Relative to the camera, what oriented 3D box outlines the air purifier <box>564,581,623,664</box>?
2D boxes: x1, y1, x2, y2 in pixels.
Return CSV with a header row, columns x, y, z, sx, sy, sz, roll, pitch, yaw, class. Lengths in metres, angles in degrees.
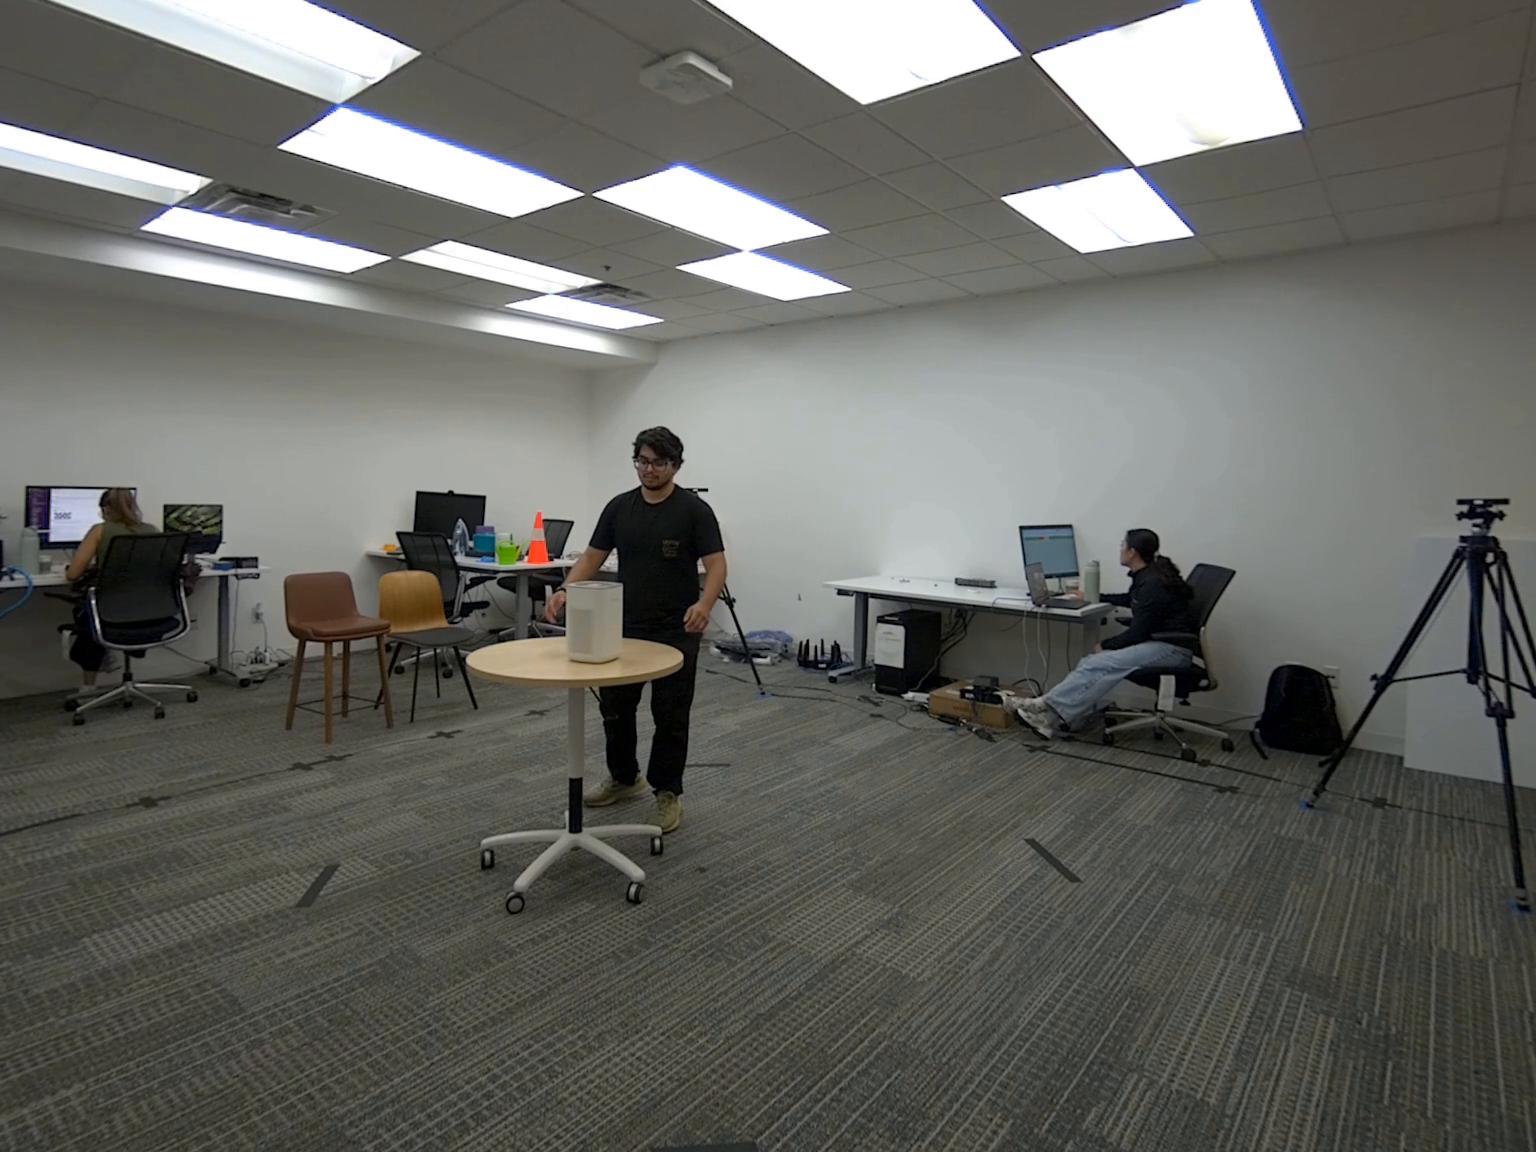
x,y,z,sx,sy,sz,roll,pitch,yaw,class
-0.622,0.153,2.984,0.175,0.264,0.168,5,4,19,air purifier
